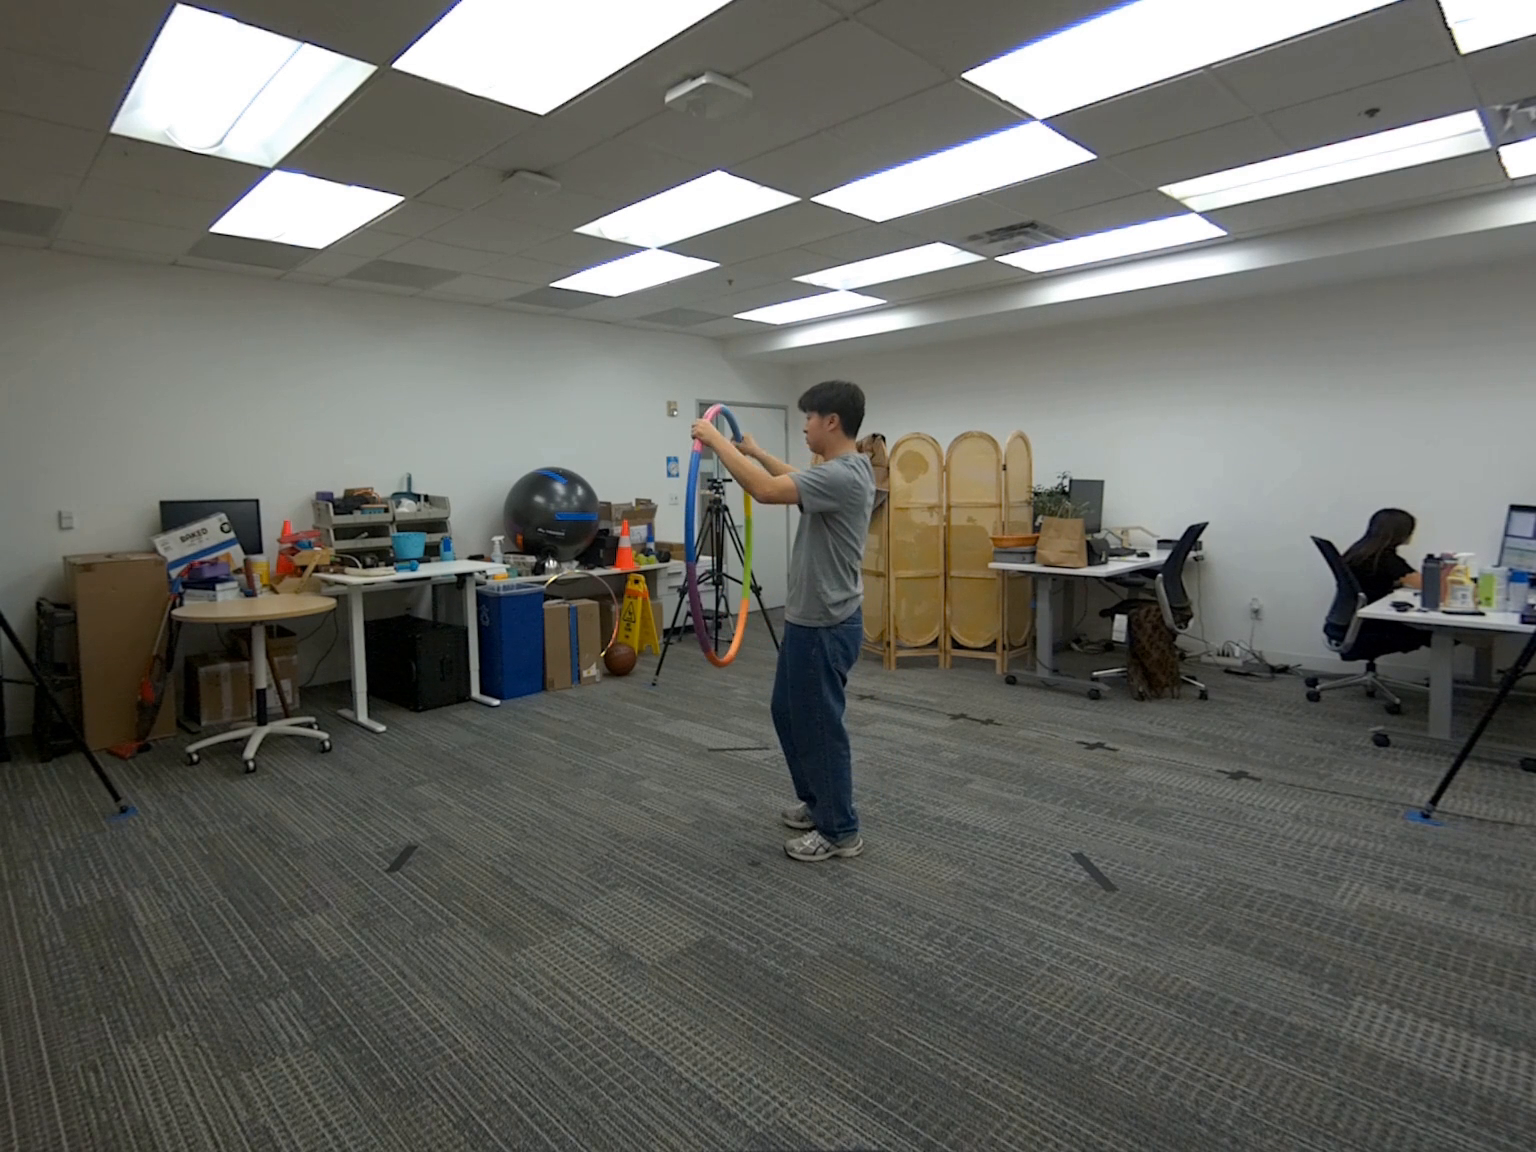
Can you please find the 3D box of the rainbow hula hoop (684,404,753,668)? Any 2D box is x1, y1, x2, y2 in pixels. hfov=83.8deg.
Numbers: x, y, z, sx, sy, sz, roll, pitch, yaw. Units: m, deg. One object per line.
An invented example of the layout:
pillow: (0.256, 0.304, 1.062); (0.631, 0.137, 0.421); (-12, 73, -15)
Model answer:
rainbow hula hoop: (-0.166, -0.152, 3.275); (0.036, 0.975, 0.971); (1, 5, 11)
